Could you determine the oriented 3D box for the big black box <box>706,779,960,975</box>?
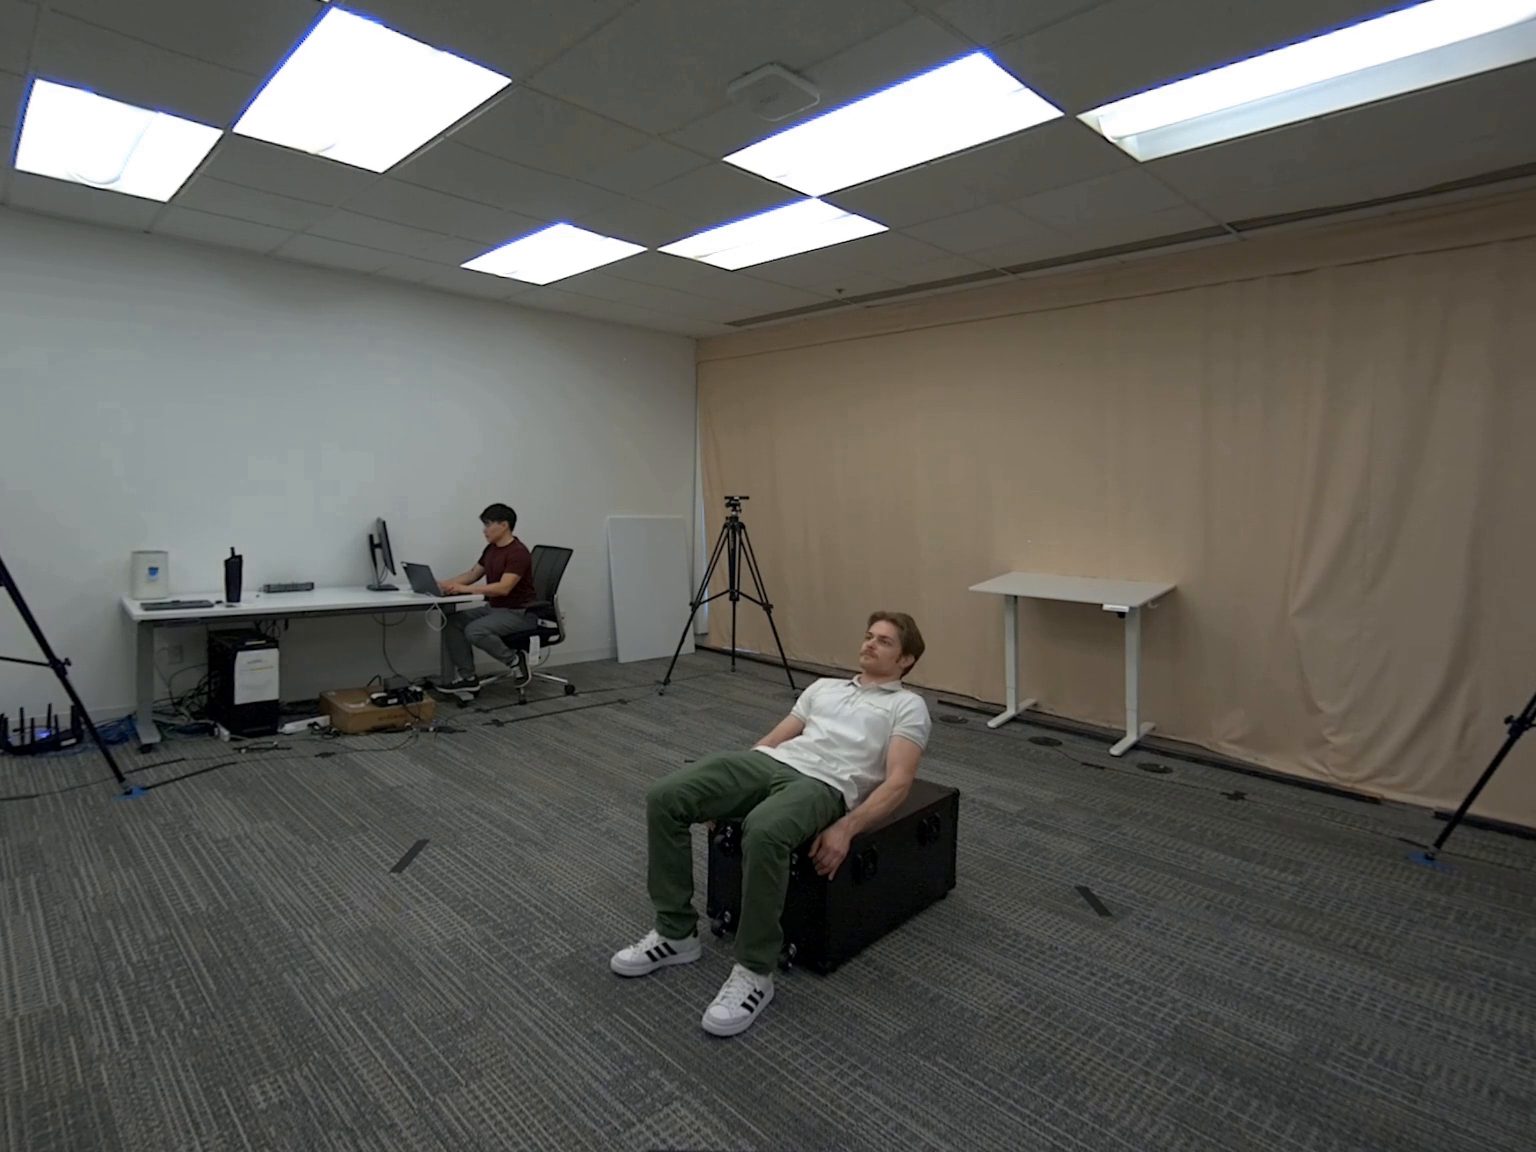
[{"bbox_3d":[0.206,0.943,2.844,0.537,0.384,0.849,7,8,41],"label":"big black box"}]
